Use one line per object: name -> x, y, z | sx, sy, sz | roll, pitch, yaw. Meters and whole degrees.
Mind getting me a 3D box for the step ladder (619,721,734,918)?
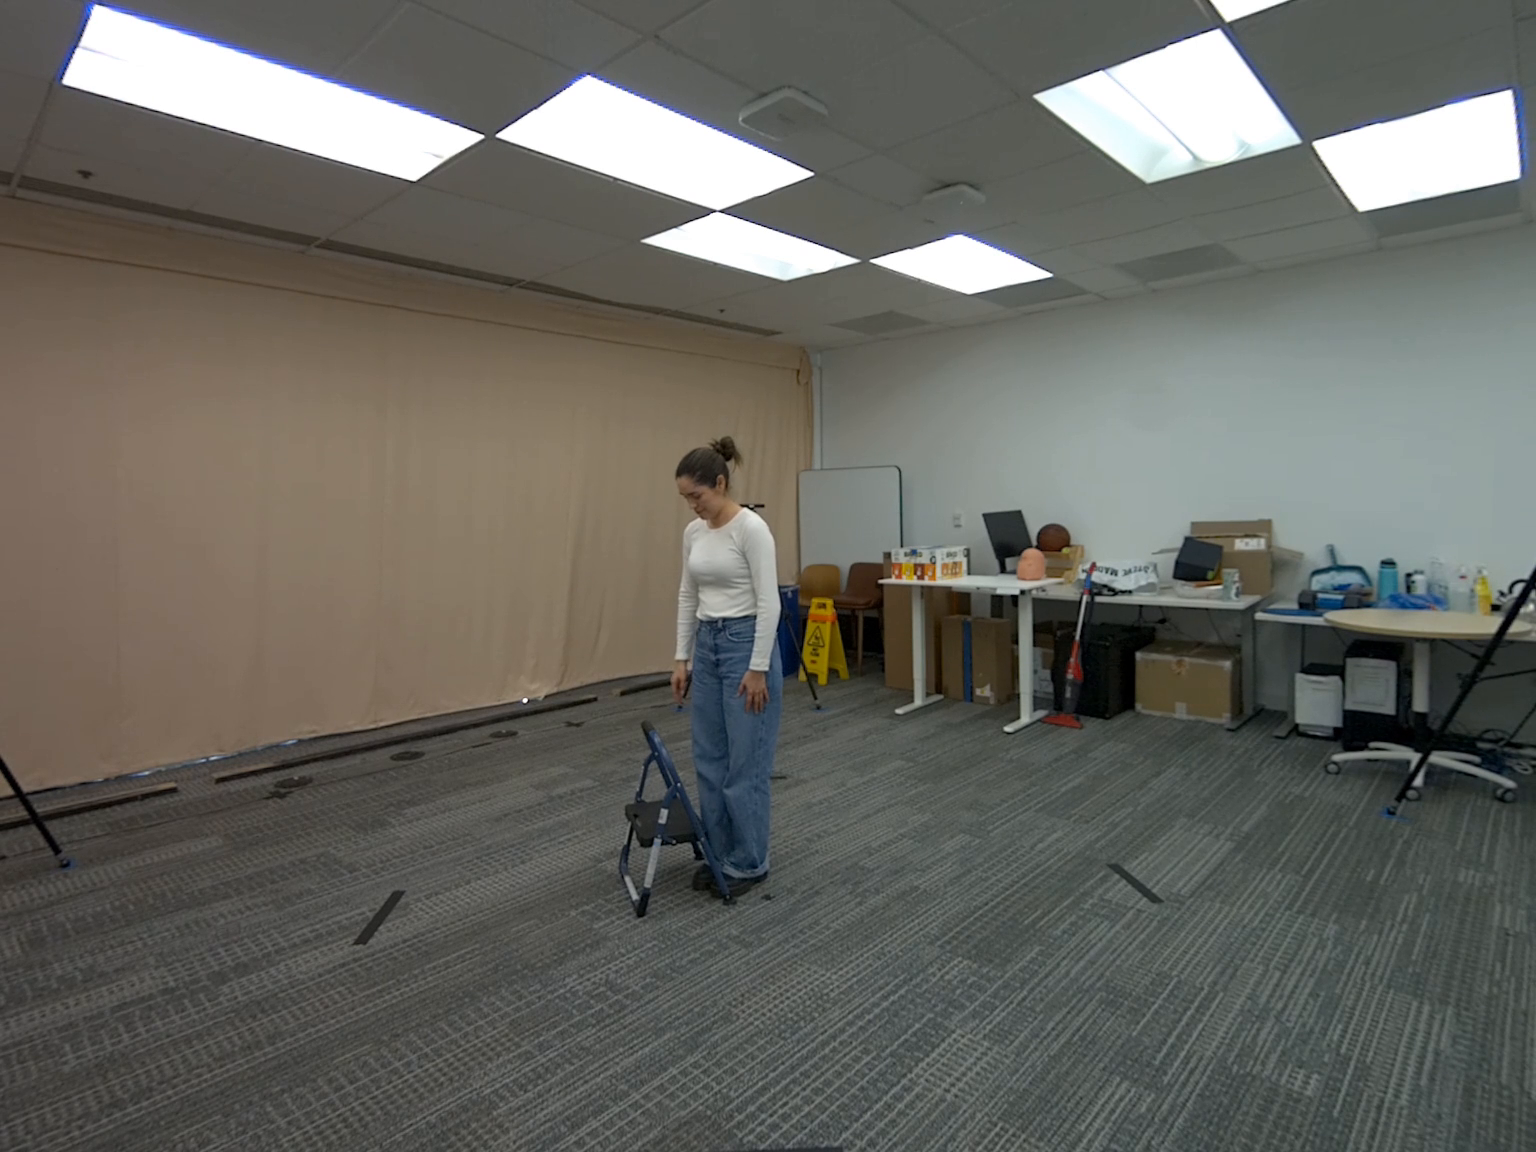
step ladder -> -0.353, 0.838, 3.080 | 0.343, 0.605, 0.439 | -2, 3, -18
